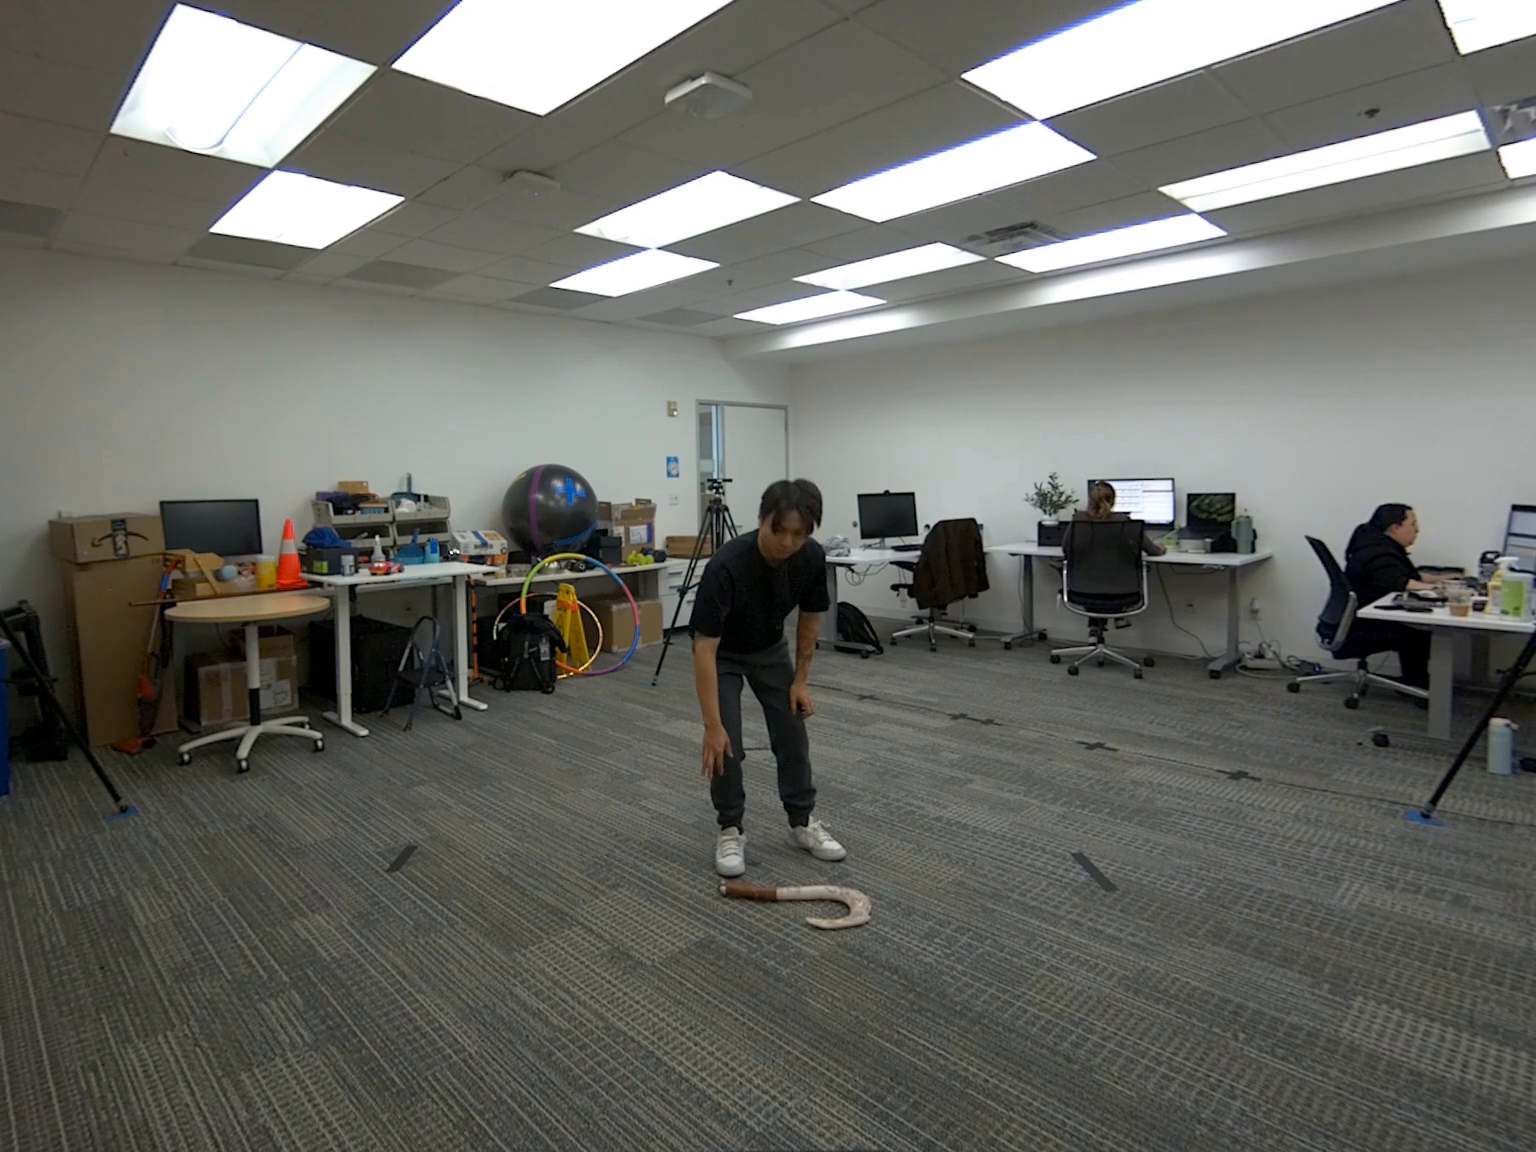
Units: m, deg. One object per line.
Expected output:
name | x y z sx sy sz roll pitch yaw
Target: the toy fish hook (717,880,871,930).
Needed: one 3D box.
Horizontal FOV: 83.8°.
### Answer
toy fish hook | 0.080 1.059 2.768 0.512 0.048 0.223 0 5 11
